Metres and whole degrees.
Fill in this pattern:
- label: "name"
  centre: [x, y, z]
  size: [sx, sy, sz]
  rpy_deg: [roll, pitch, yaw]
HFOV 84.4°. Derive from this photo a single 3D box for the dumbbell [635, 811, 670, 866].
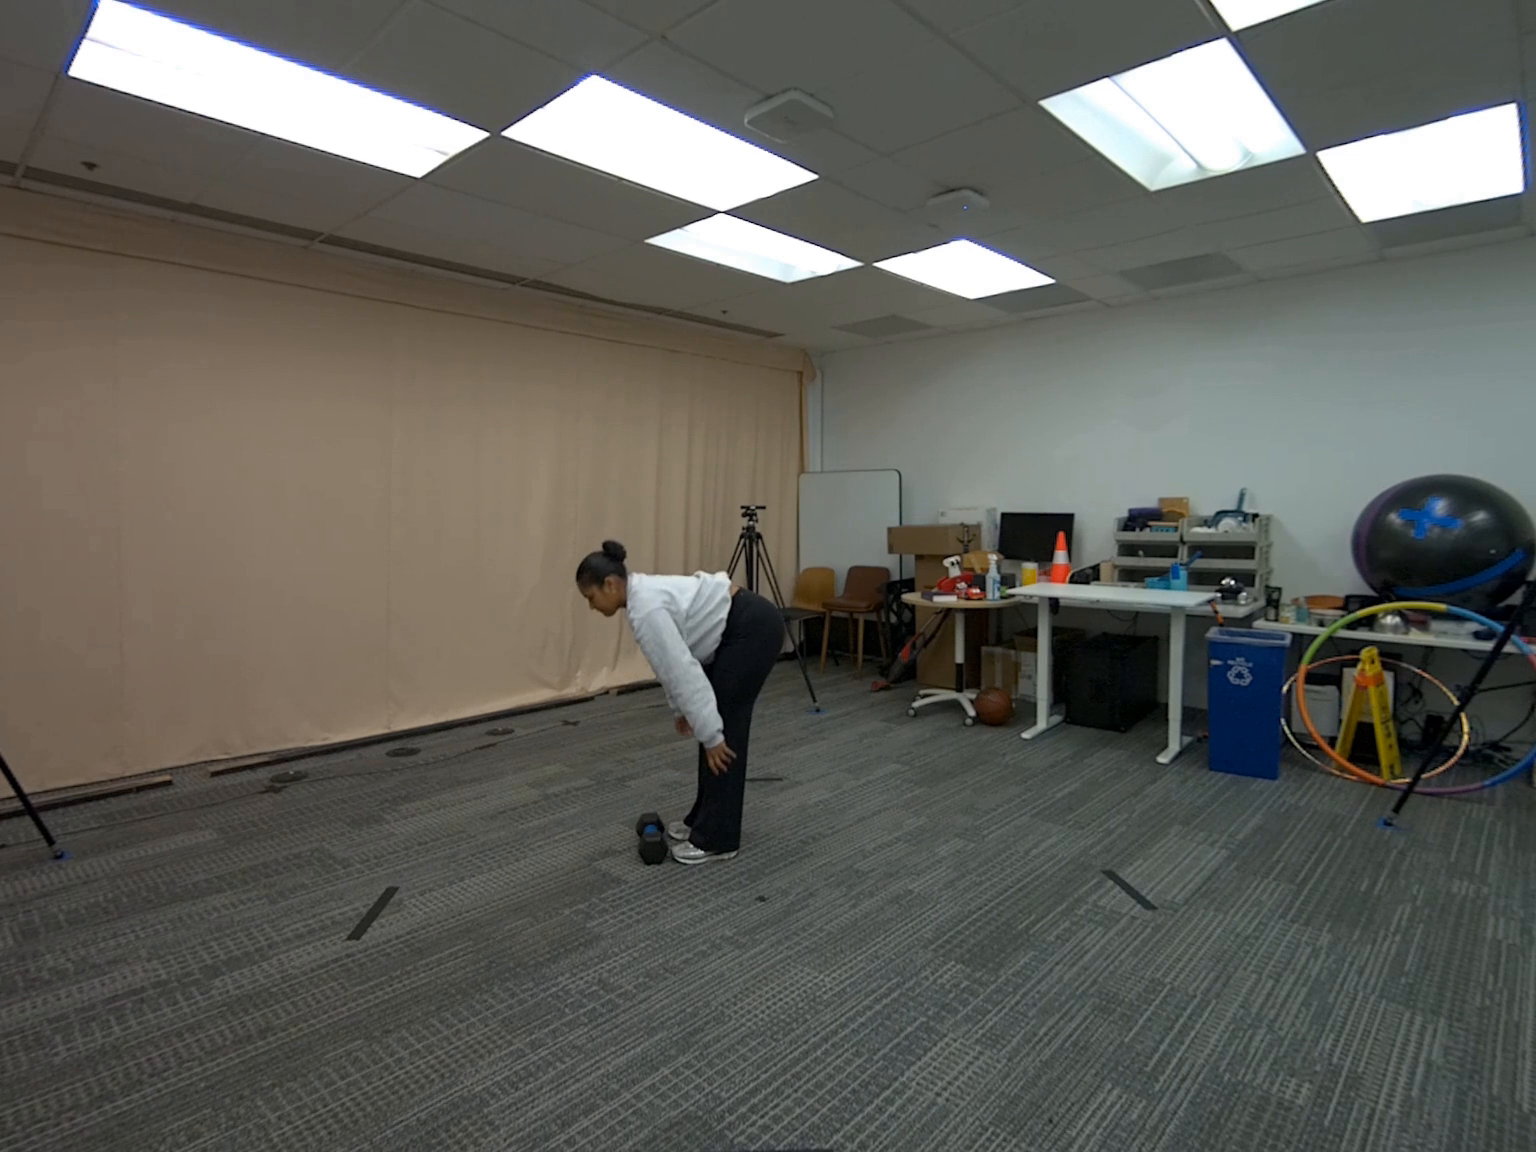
- label: "dumbbell"
  centre: [-0.466, 1.066, 3.410]
  size: [0.107, 0.123, 0.297]
  rpy_deg: [32, -1, -11]
